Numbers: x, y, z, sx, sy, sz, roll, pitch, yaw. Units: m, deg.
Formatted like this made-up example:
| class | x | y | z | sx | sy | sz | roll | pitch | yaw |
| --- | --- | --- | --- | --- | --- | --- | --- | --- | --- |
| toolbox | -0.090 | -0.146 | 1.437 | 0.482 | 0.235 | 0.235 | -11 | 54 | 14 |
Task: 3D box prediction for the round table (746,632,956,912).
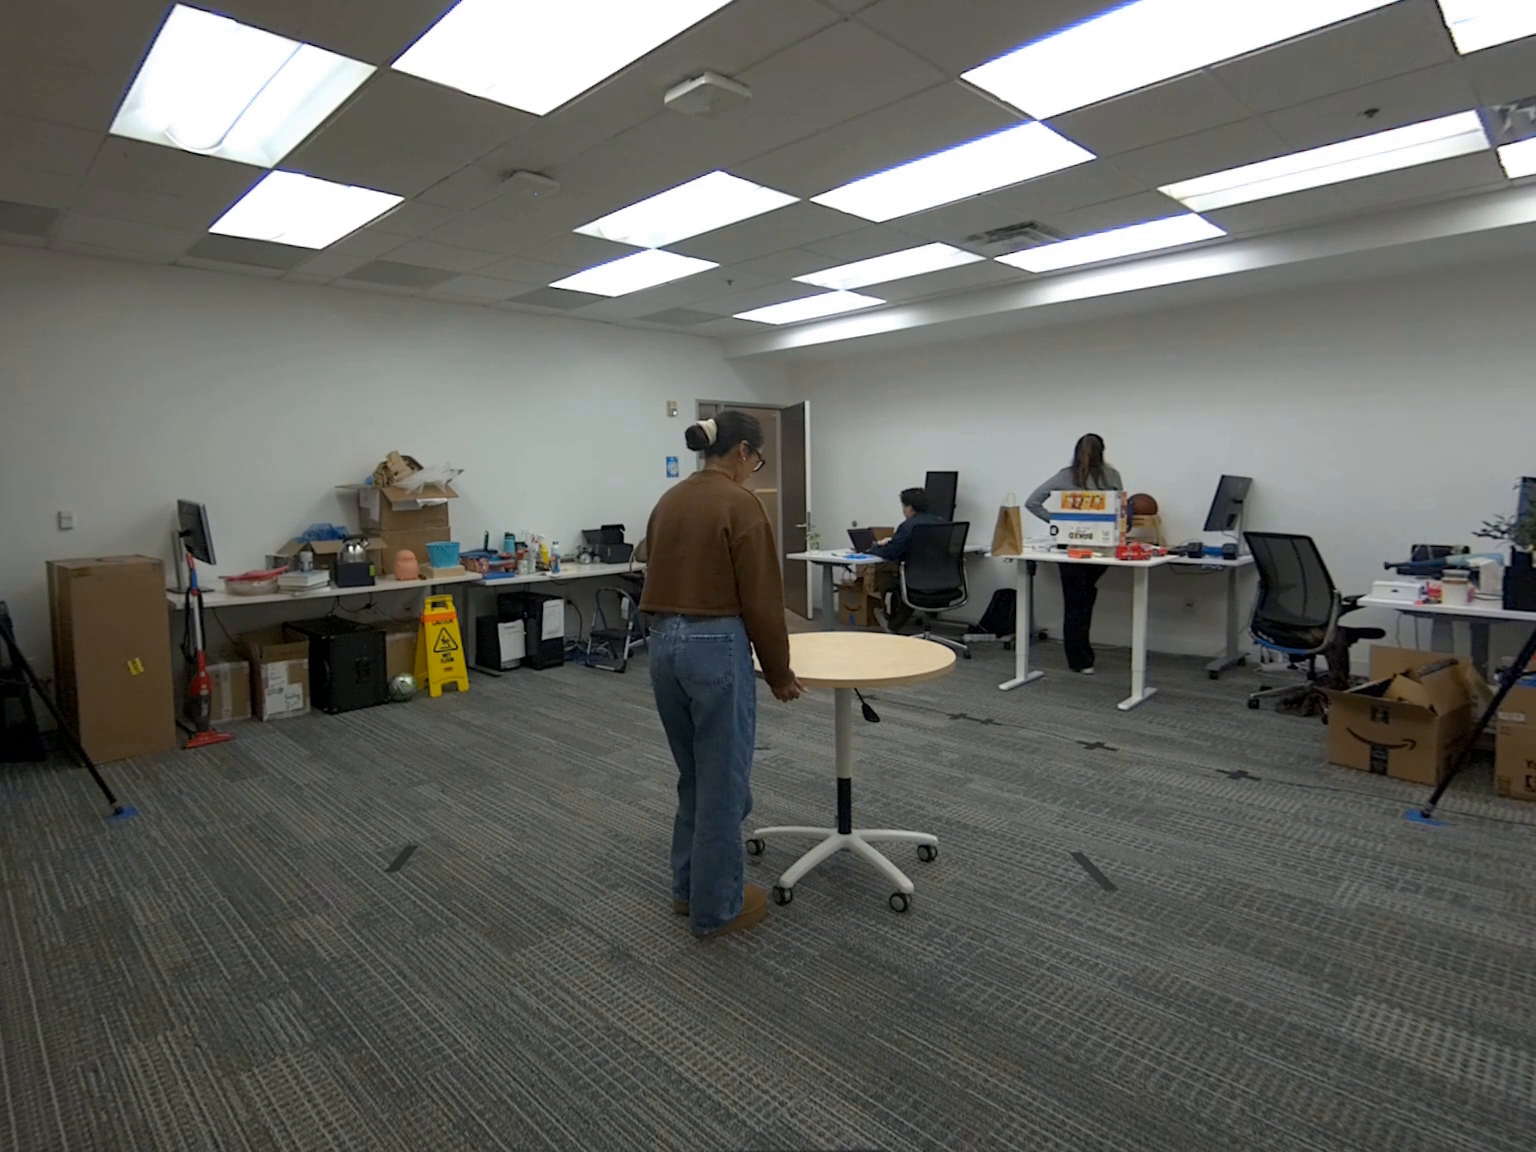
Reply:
| class | x | y | z | sx | sy | sz | roll | pitch | yaw |
| --- | --- | --- | --- | --- | --- | --- | --- | --- | --- |
| round table | 0.266 | 0.660 | 3.012 | 0.763 | 0.791 | 0.768 | -1 | 5 | -2 |
